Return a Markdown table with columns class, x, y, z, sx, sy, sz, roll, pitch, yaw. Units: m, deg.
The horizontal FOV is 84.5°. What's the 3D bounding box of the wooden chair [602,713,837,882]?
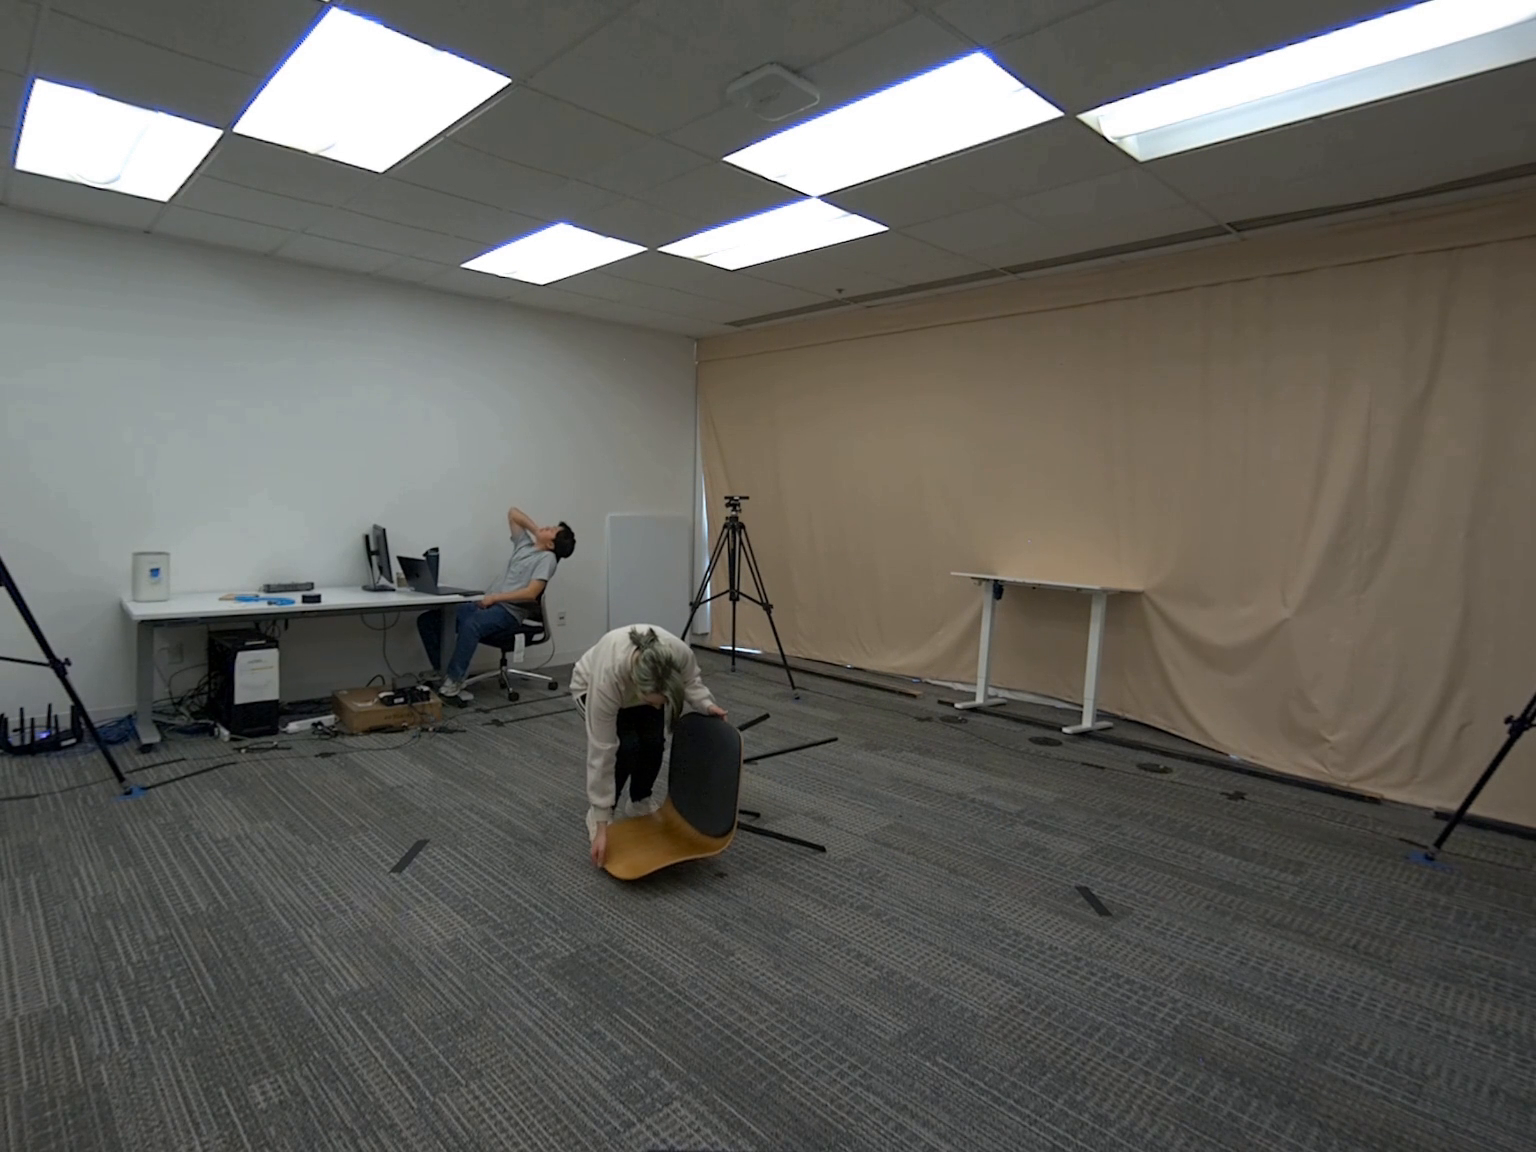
| class | x | y | z | sx | sy | sz | roll | pitch | yaw |
| --- | --- | --- | --- | --- | --- | --- | --- | --- | --- |
| wooden chair | -0.221 | 0.808 | 3.269 | 0.857 | 0.522 | 0.490 | 0 | 4 | -36 |
